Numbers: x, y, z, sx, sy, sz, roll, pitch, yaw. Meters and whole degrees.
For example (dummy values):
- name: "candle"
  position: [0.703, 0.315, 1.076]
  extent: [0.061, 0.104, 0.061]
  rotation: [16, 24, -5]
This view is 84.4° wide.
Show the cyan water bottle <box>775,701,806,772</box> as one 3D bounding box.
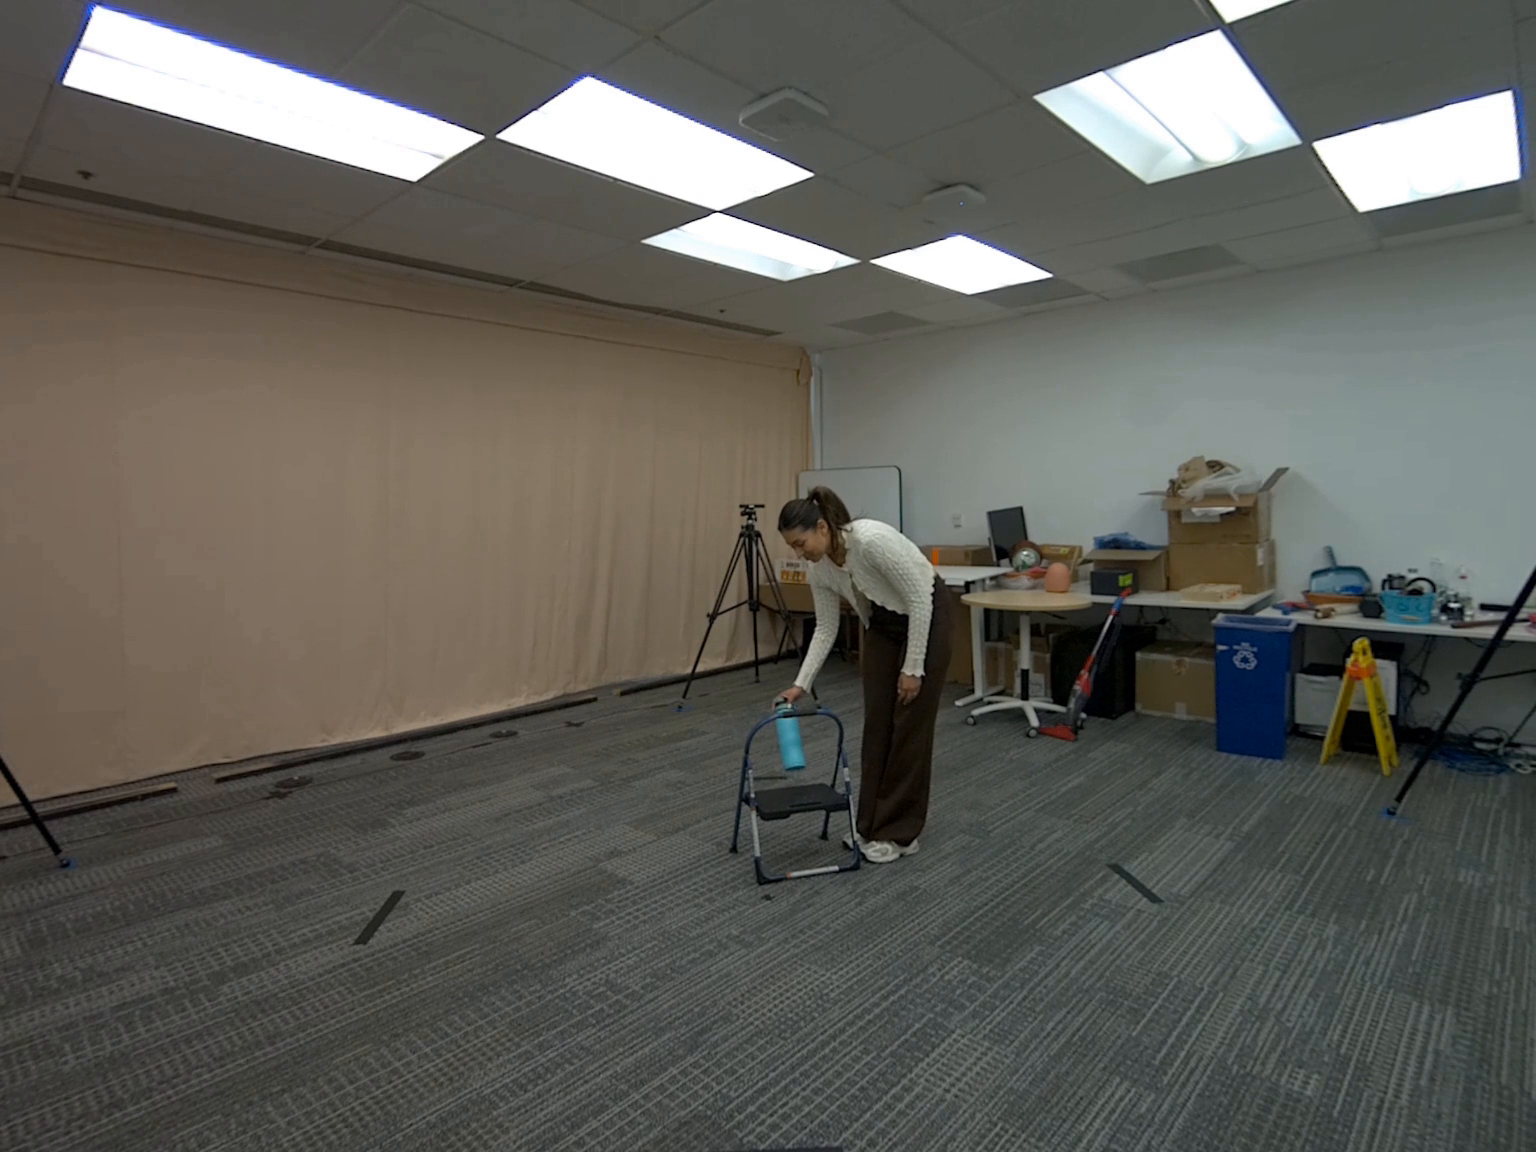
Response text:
- name: "cyan water bottle"
  position: [0.097, 0.638, 3.356]
  extent: [0.092, 0.289, 0.091]
  rotation: [-9, -26, -6]
